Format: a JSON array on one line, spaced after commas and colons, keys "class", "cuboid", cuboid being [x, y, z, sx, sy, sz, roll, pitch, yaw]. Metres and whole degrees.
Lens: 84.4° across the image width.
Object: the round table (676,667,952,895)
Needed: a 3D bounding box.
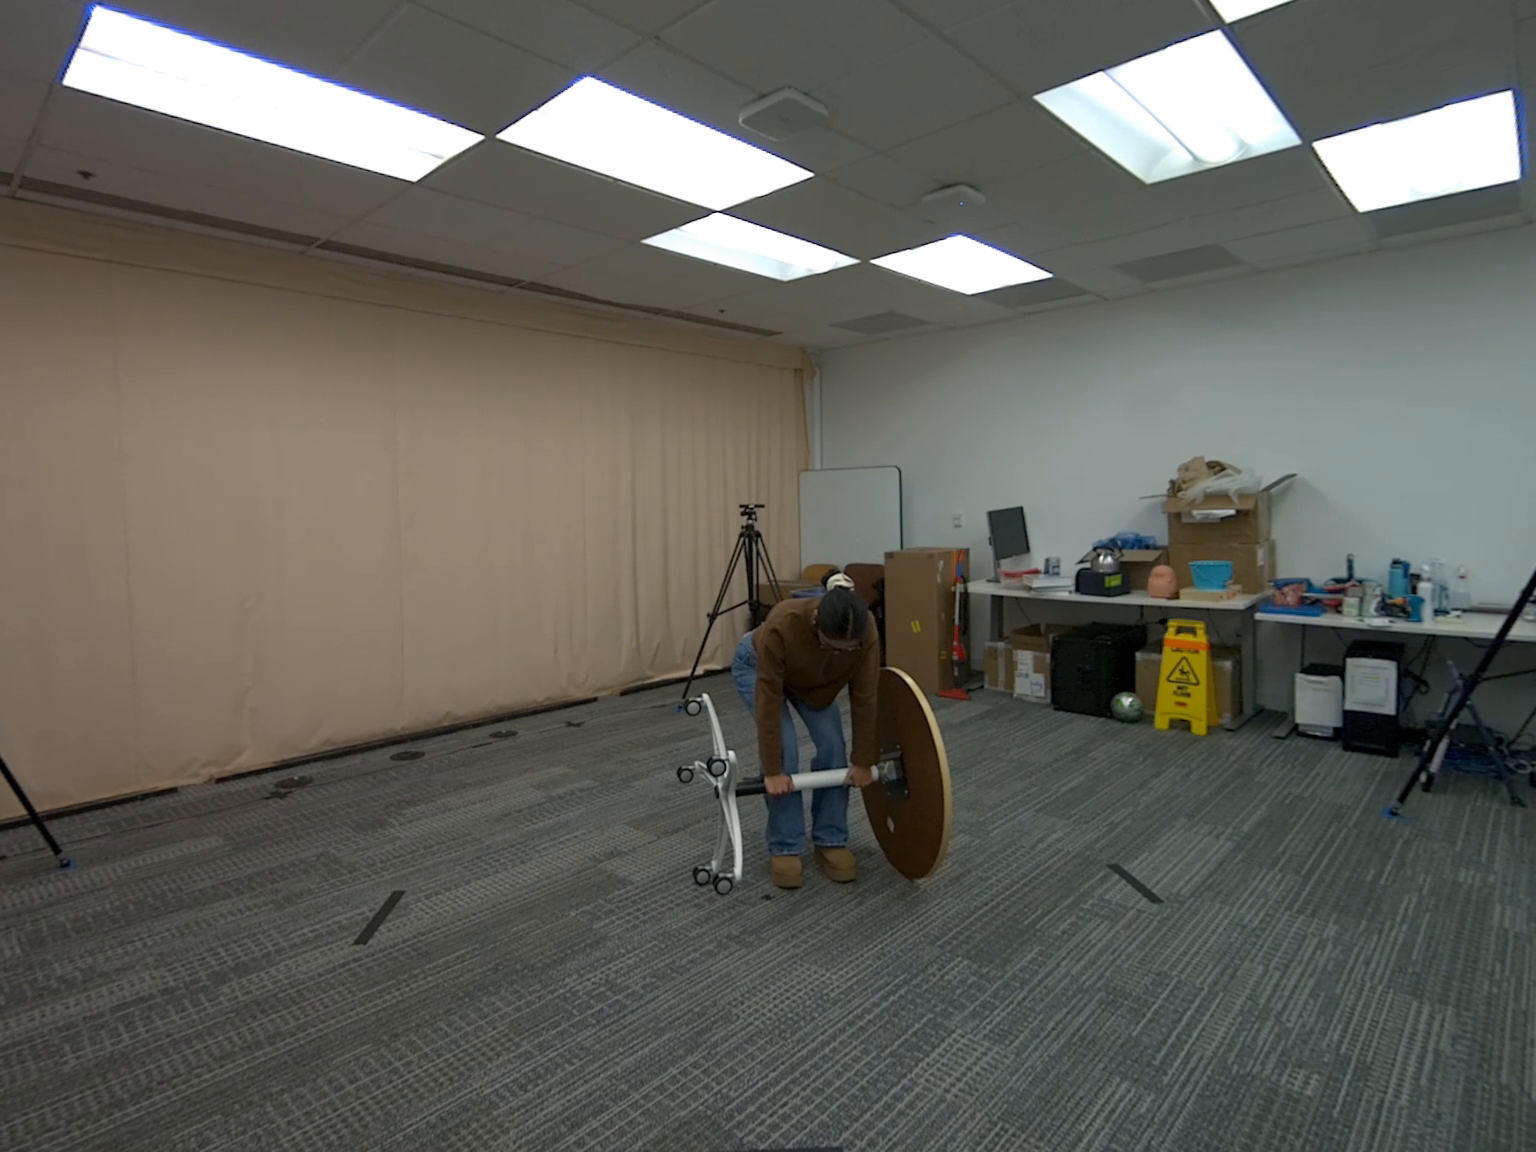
[{"class": "round table", "cuboid": [0.117, 0.765, 3.085, 0.783, 0.762, 0.777, -5, 5, -14]}]
